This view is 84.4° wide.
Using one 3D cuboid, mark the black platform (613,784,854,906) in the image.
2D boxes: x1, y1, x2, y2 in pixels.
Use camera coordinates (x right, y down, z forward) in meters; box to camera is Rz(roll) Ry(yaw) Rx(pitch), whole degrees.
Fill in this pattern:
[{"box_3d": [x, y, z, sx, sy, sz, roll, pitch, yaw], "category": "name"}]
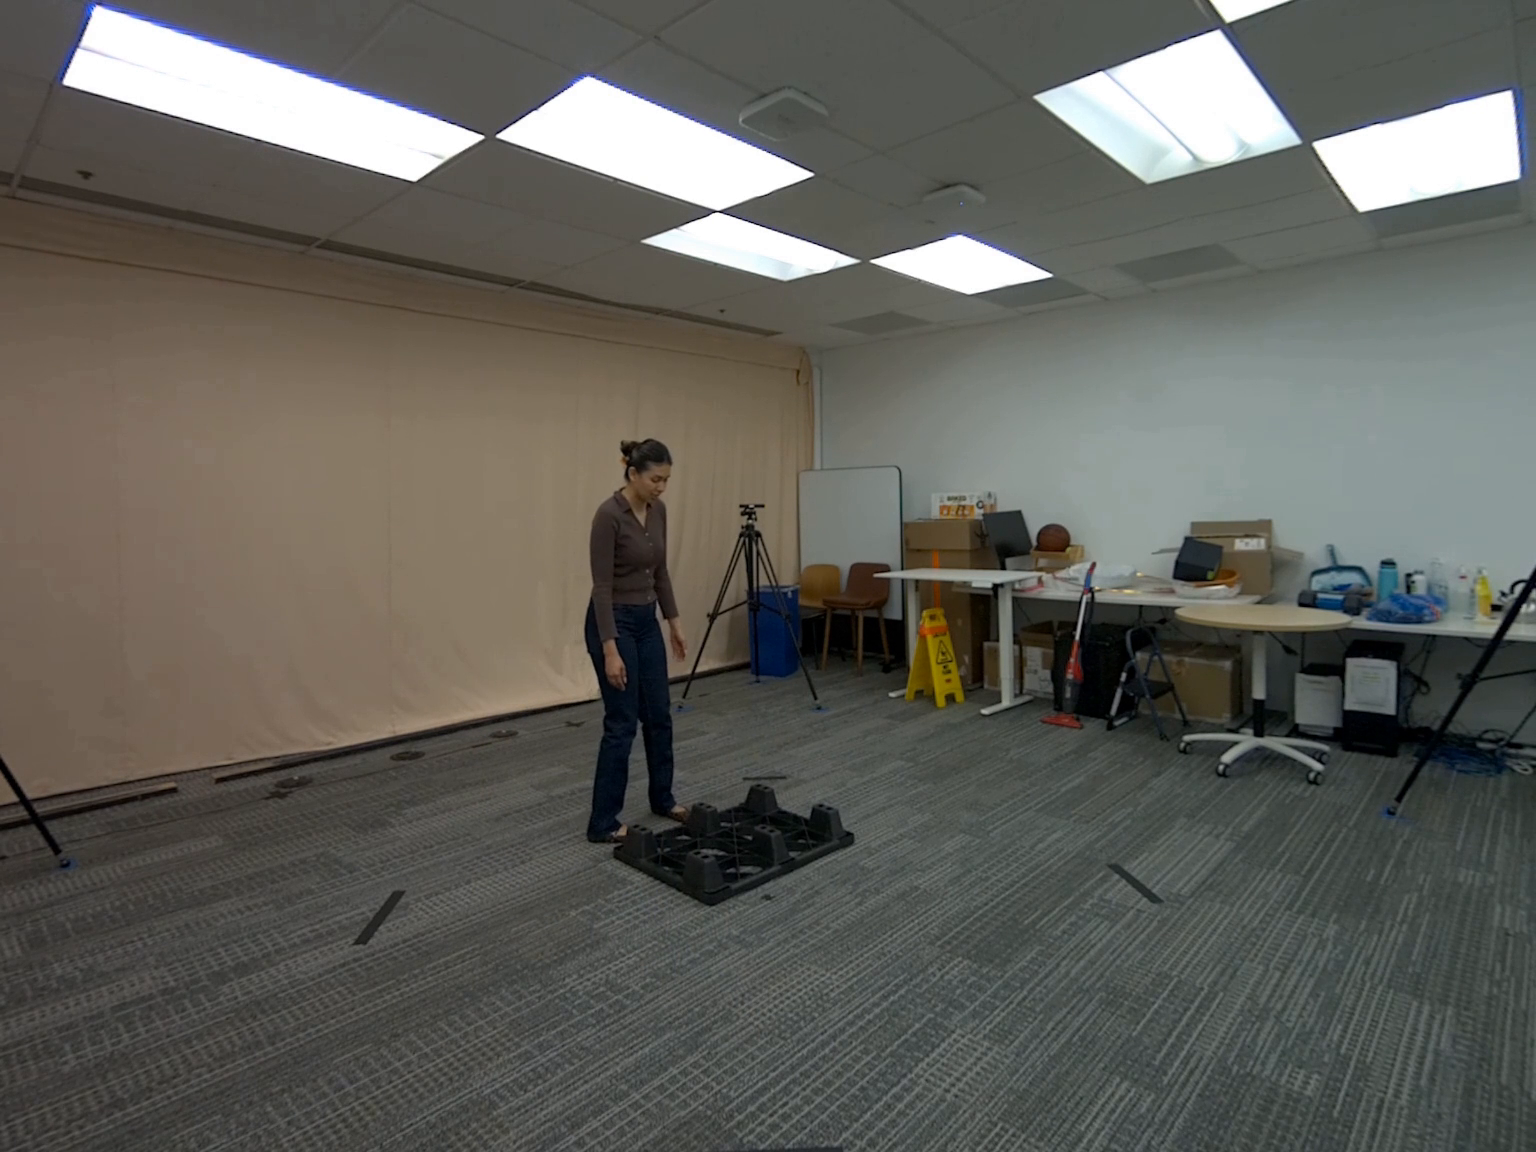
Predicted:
[{"box_3d": [-0.128, 1.043, 3.389, 0.781, 0.143, 0.625, -6, 6, -44], "category": "black platform"}]
